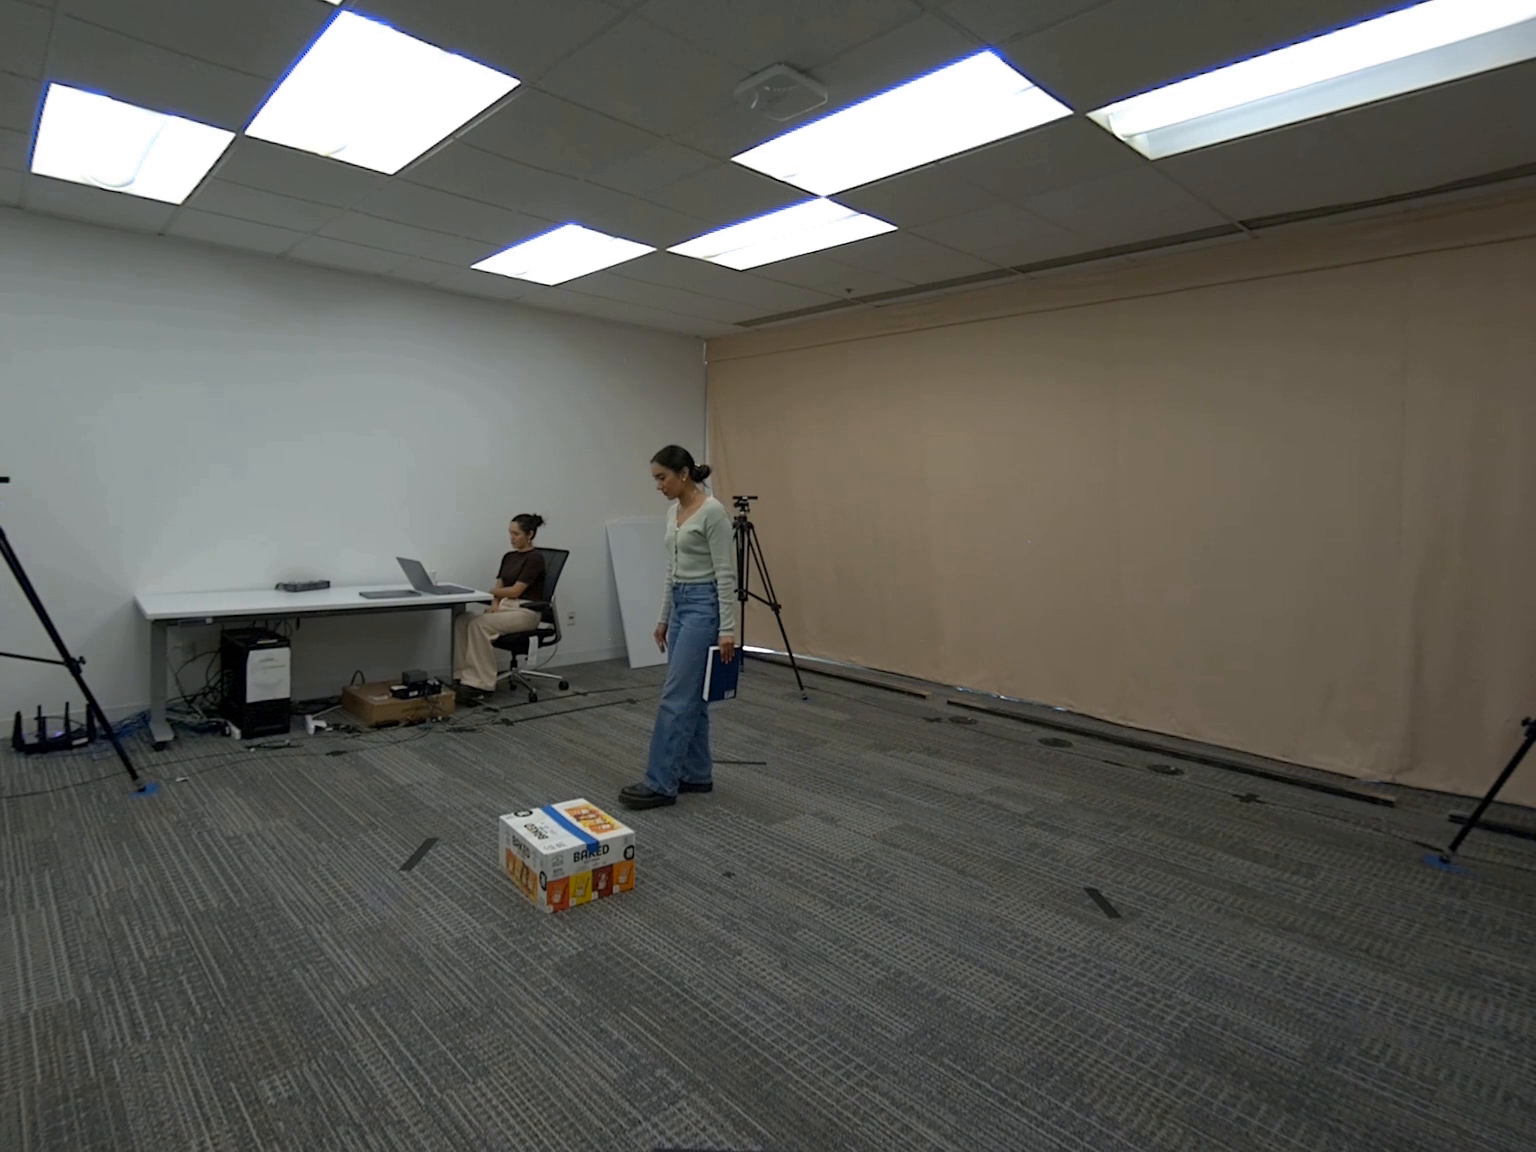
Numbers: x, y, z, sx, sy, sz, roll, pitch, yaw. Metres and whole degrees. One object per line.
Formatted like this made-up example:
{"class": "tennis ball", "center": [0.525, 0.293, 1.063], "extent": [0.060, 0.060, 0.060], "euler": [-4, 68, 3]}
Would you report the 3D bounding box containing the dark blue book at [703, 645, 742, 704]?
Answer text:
{"class": "dark blue book", "center": [-0.215, 0.437, 3.760], "extent": [0.159, 0.244, 0.046], "euler": [0, 12, -39]}
